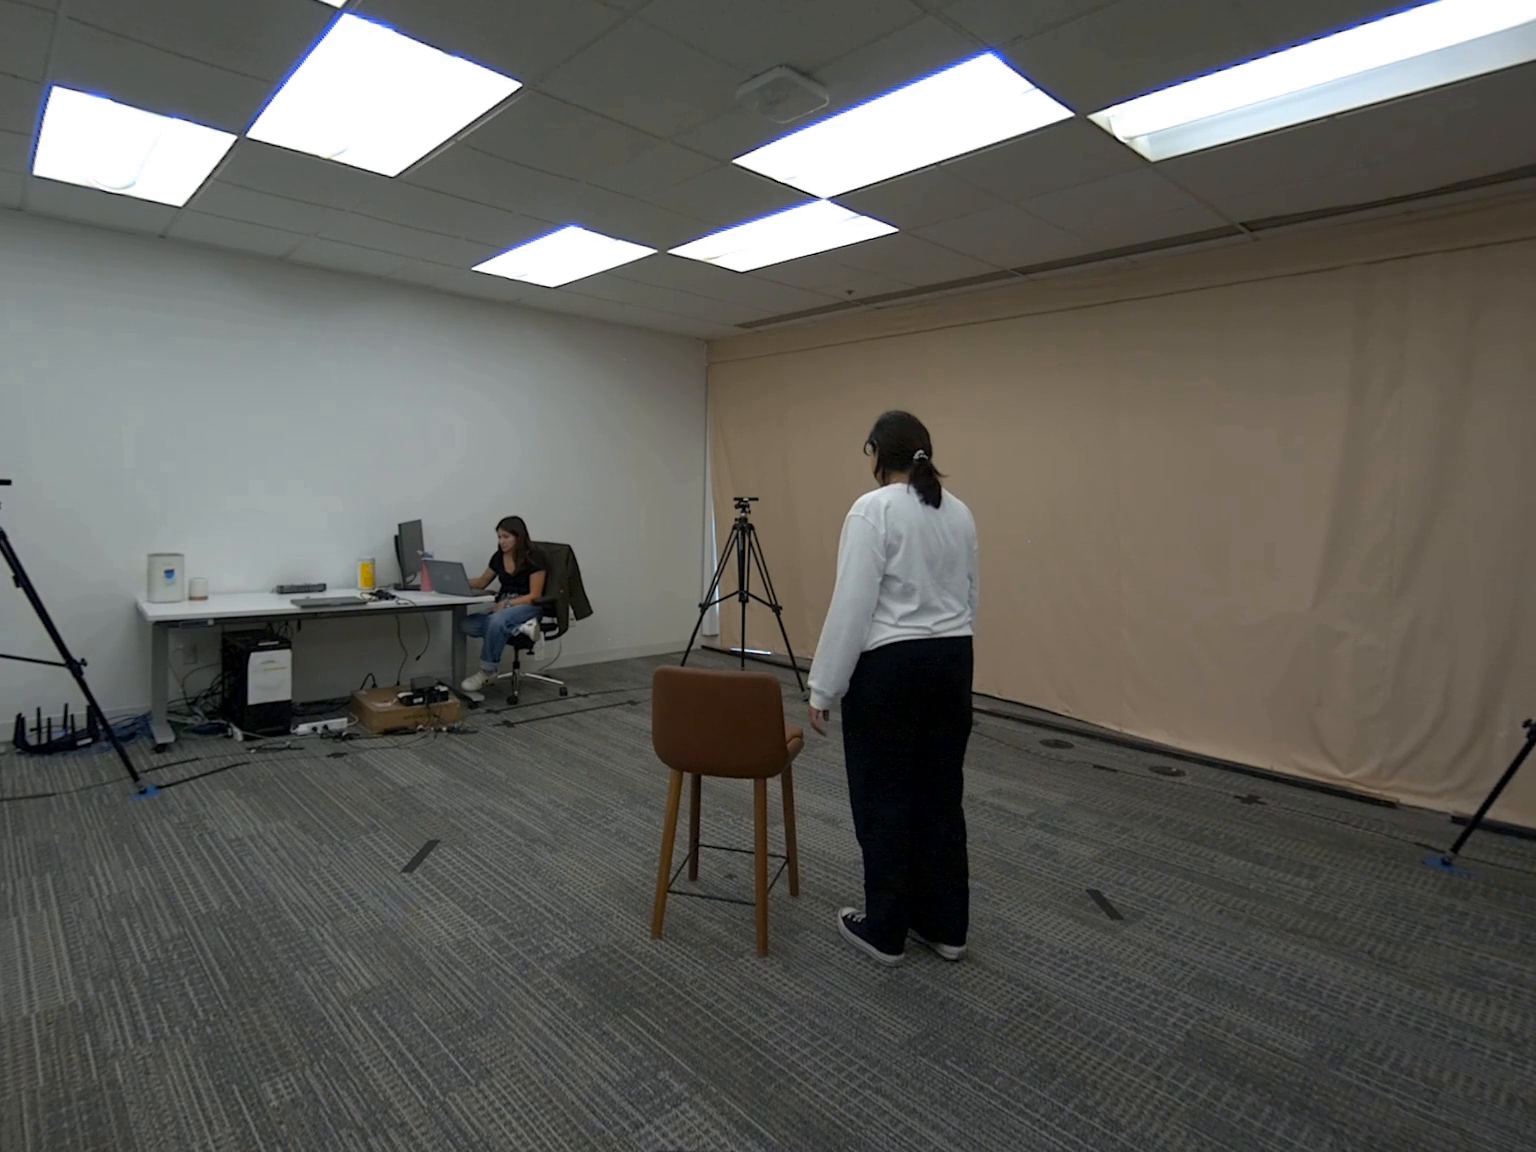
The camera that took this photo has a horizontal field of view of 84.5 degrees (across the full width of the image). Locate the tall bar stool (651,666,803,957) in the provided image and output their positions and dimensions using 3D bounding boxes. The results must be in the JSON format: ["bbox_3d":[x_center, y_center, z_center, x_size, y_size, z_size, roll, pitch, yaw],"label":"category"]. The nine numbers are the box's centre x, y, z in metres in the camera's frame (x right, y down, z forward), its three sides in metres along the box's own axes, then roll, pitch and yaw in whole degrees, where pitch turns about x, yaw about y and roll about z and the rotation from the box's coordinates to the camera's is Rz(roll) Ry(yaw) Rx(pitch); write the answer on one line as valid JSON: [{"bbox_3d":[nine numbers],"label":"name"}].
[{"bbox_3d":[-0.132,0.703,2.794,0.462,0.886,0.463,2,5,15],"label":"tall bar stool"}]
